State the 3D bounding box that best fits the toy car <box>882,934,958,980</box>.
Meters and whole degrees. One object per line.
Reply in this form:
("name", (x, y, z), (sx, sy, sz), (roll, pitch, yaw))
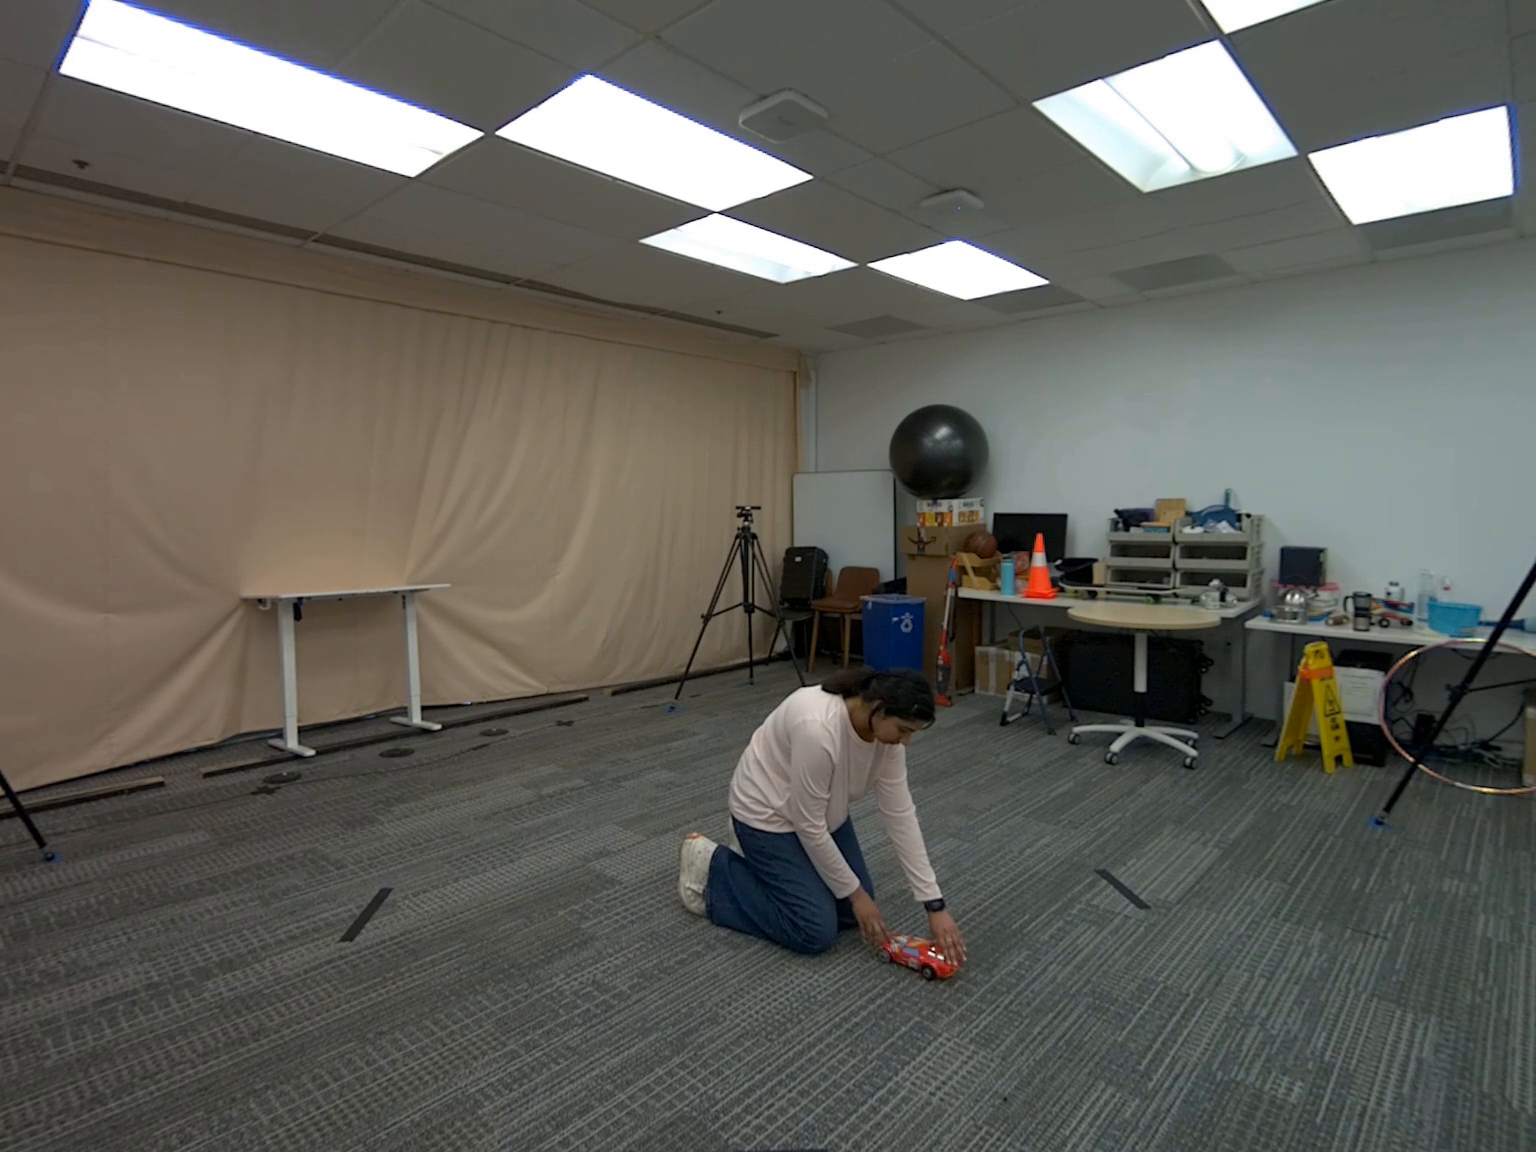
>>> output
("toy car", (0.469, 1.150, 2.537), (0.261, 0.083, 0.126), (-11, -3, 39))
